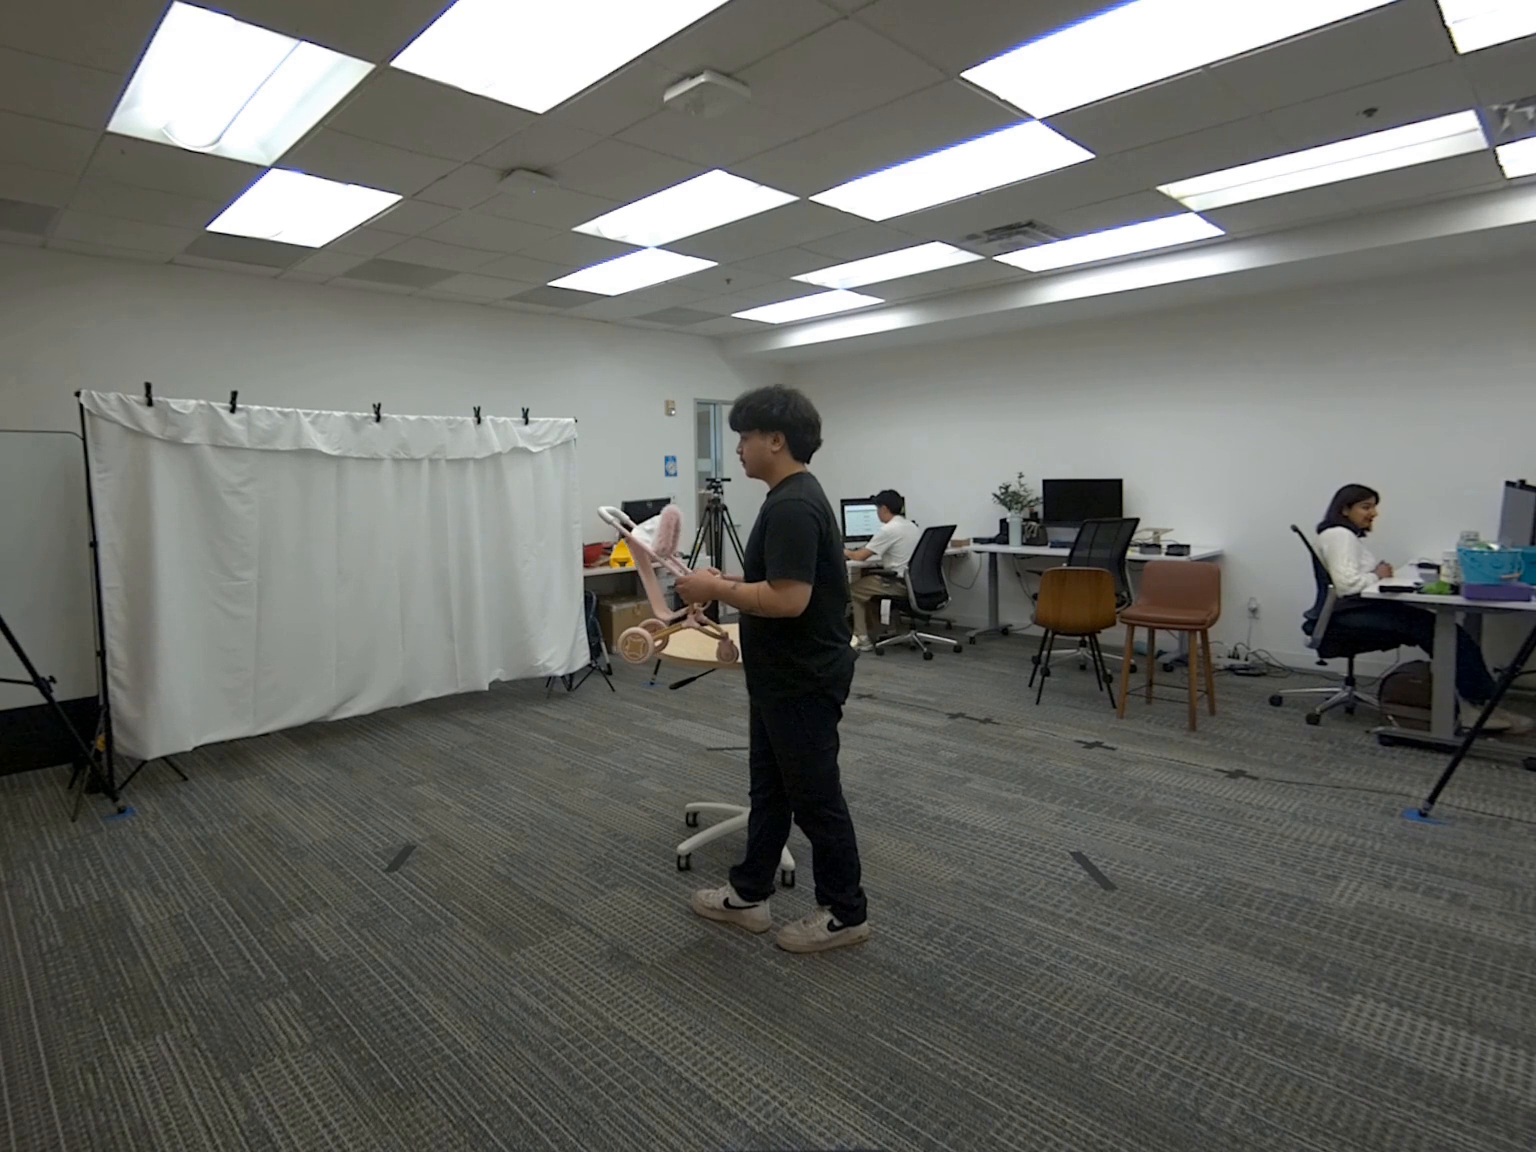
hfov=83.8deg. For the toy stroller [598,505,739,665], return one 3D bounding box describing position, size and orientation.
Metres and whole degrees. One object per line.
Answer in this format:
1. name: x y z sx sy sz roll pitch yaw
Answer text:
1. toy stroller: -0.287 0.025 2.569 0.344 0.536 0.278 -10 -2 9
